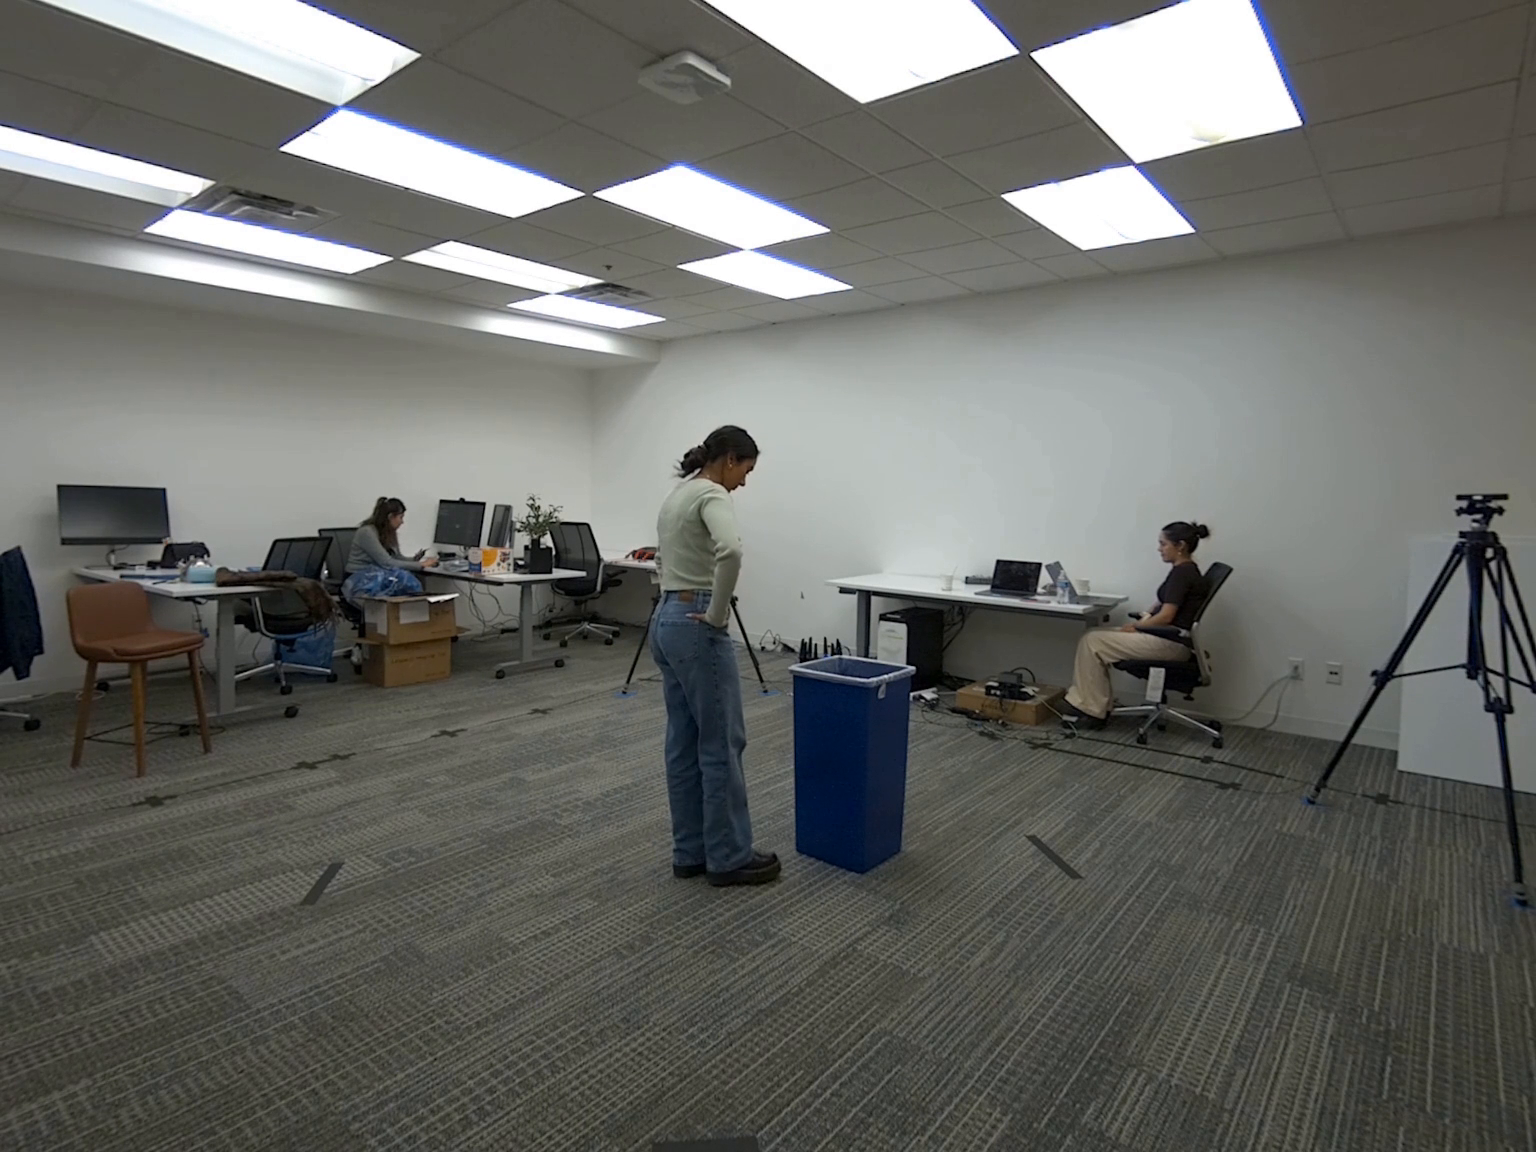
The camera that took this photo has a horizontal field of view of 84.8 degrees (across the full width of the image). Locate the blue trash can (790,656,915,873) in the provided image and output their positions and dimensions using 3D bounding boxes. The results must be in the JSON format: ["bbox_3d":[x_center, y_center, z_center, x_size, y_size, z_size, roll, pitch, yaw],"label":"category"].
[{"bbox_3d":[0.312,0.699,3.275,0.390,0.711,0.363,3,4,38],"label":"blue trash can"}]
